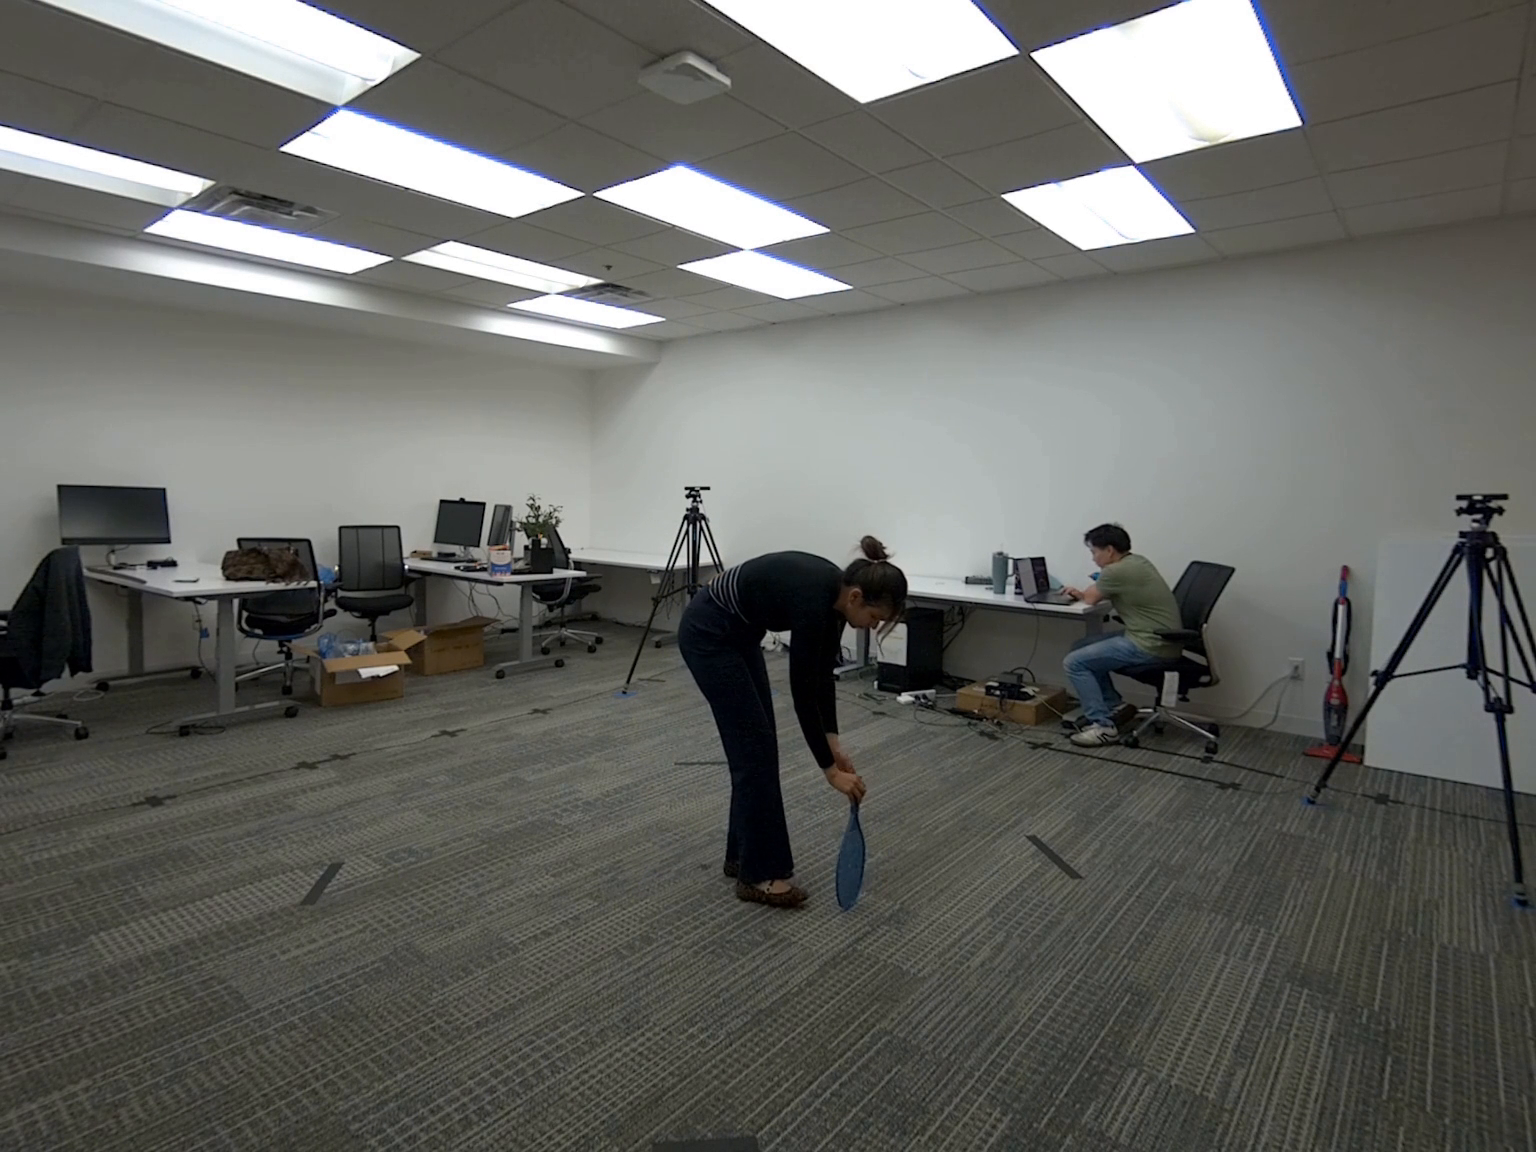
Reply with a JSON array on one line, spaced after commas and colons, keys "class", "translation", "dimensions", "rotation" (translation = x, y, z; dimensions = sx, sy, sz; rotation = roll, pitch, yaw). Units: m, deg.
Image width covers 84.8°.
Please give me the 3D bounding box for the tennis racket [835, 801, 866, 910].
[{"class": "tennis racket", "translation": [0.280, 0.888, 2.846], "dimensions": [0.033, 0.435, 0.206], "rotation": [4, -7, 28]}]
